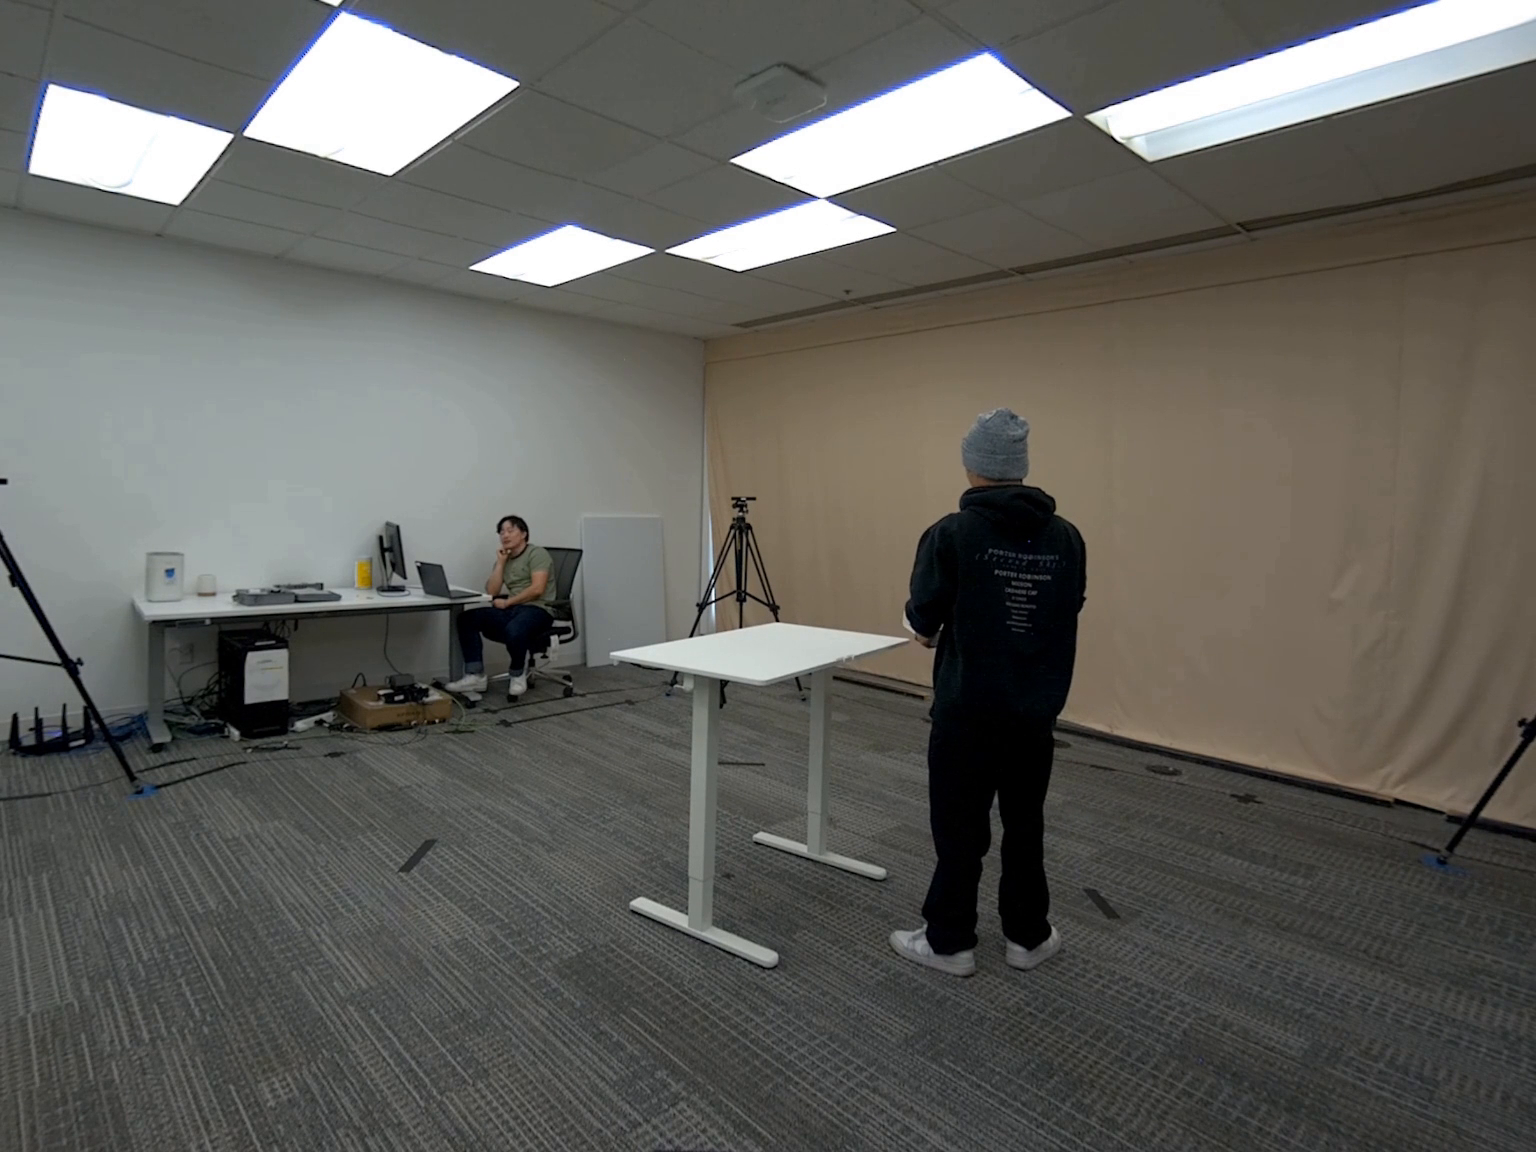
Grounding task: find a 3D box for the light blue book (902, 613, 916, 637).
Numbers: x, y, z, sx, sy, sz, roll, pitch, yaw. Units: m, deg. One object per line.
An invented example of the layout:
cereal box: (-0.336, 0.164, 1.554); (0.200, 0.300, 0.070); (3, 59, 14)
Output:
light blue book: (0.619, 0.187, 2.922); (0.190, 0.058, 0.264); (-1, 11, -7)
